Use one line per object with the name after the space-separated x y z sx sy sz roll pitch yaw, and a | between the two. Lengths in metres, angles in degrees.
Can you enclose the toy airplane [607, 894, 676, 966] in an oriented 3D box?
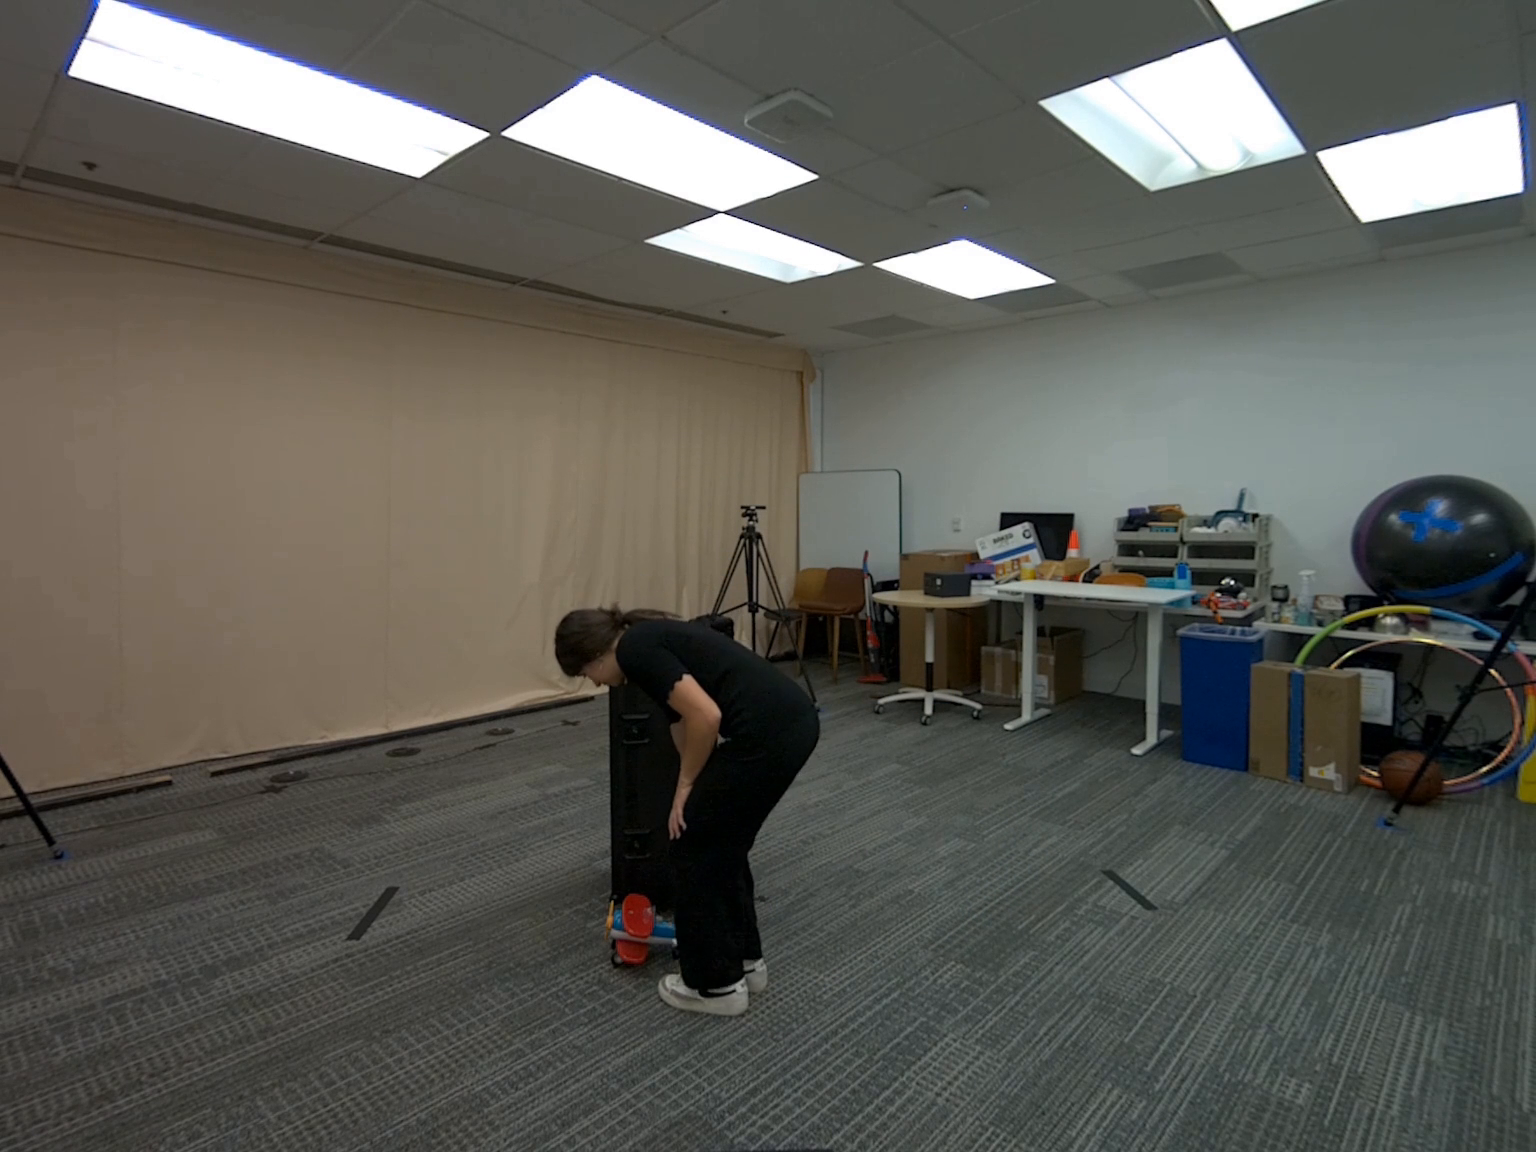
-0.379 1.100 2.618 0.252 0.156 0.259 -4 6 -34 | toy airplane
